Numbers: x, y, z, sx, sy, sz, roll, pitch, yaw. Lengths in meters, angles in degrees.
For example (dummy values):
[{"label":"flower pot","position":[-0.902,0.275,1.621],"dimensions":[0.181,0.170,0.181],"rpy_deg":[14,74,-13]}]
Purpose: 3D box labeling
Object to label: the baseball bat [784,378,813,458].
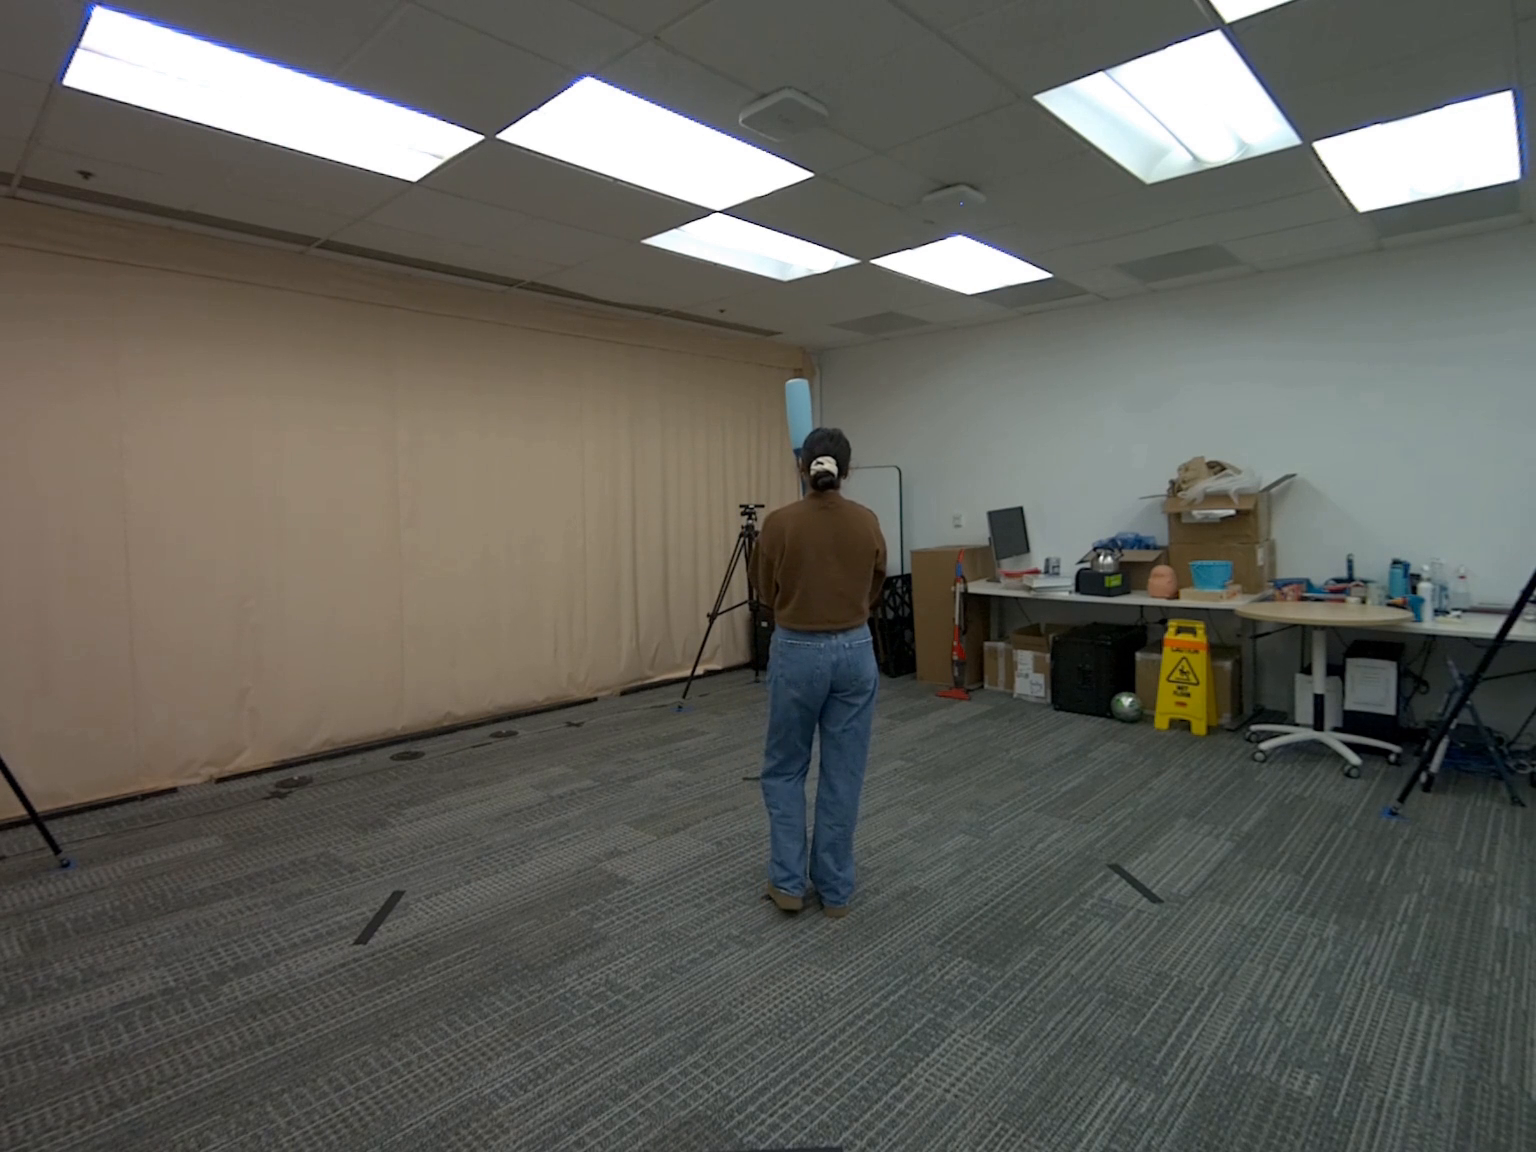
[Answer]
[{"label":"baseball bat","position":[0.138,-0.445,3.054],"dimensions":[0.089,0.543,0.089],"rpy_deg":[-7,1,-2]}]
